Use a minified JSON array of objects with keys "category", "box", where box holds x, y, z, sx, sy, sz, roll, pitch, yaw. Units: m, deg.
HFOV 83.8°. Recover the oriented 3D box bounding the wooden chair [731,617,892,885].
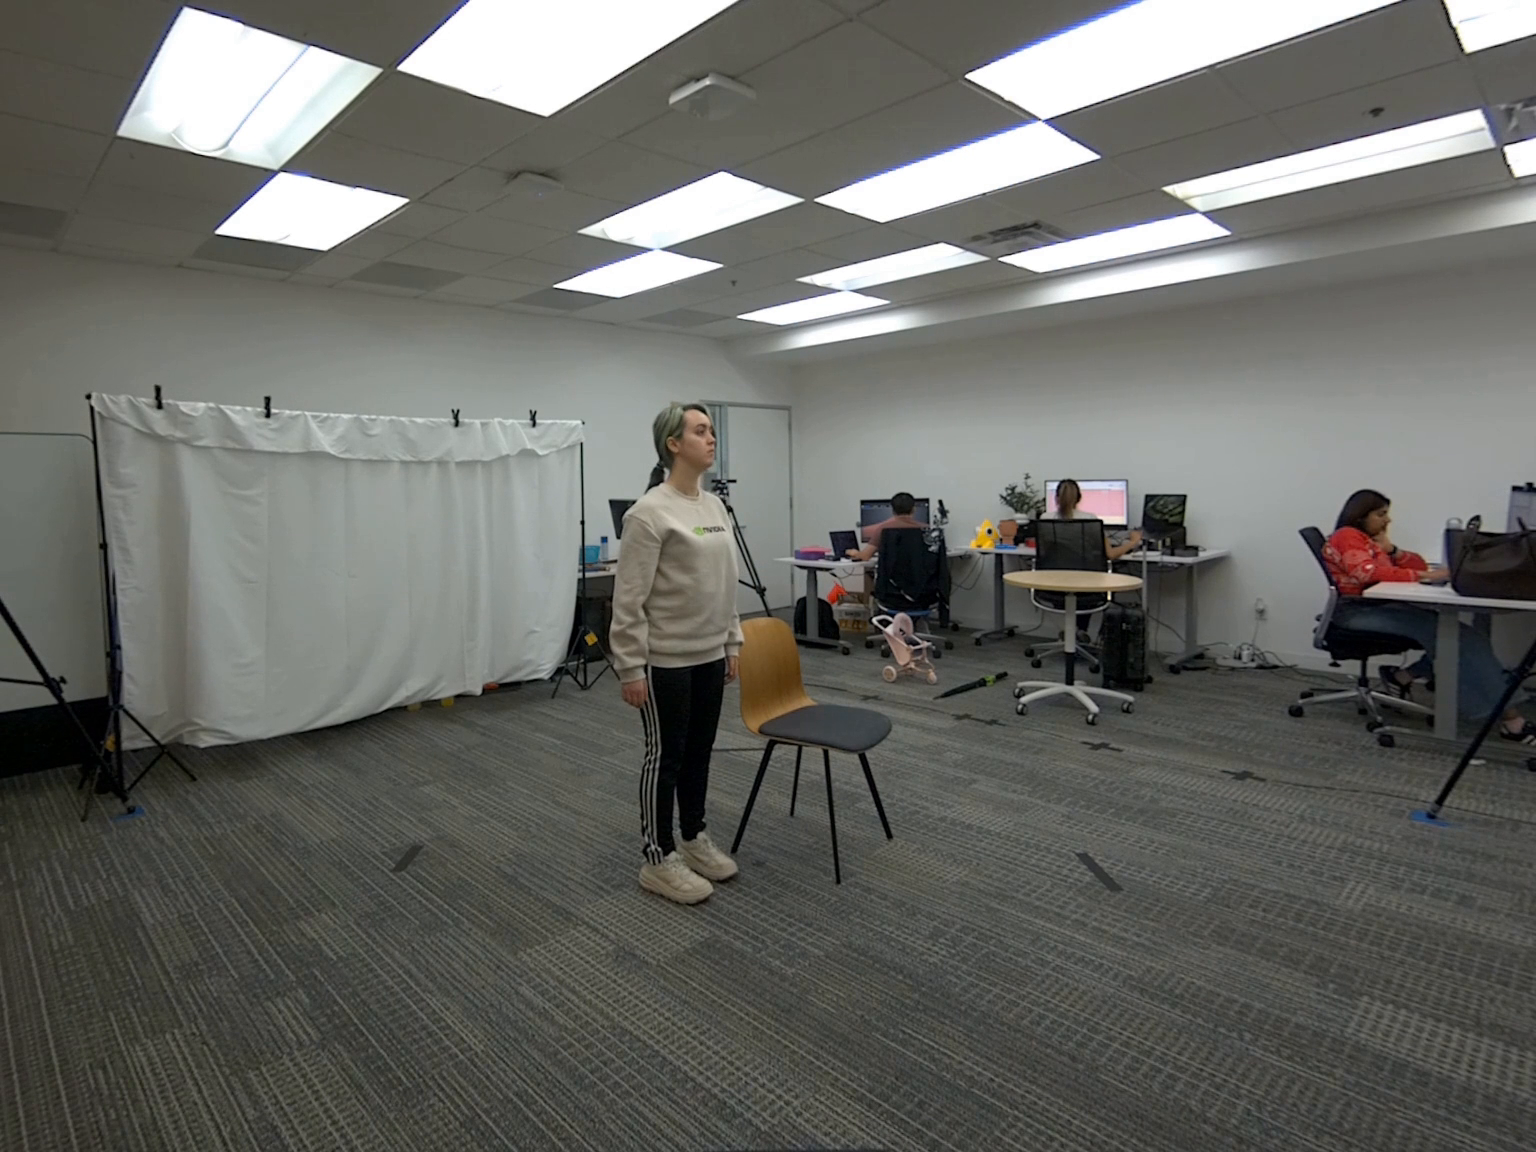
[{"category":"wooden chair","box":[0.175,0.604,3.215,0.537,0.876,0.466,-3,2,34]}]
